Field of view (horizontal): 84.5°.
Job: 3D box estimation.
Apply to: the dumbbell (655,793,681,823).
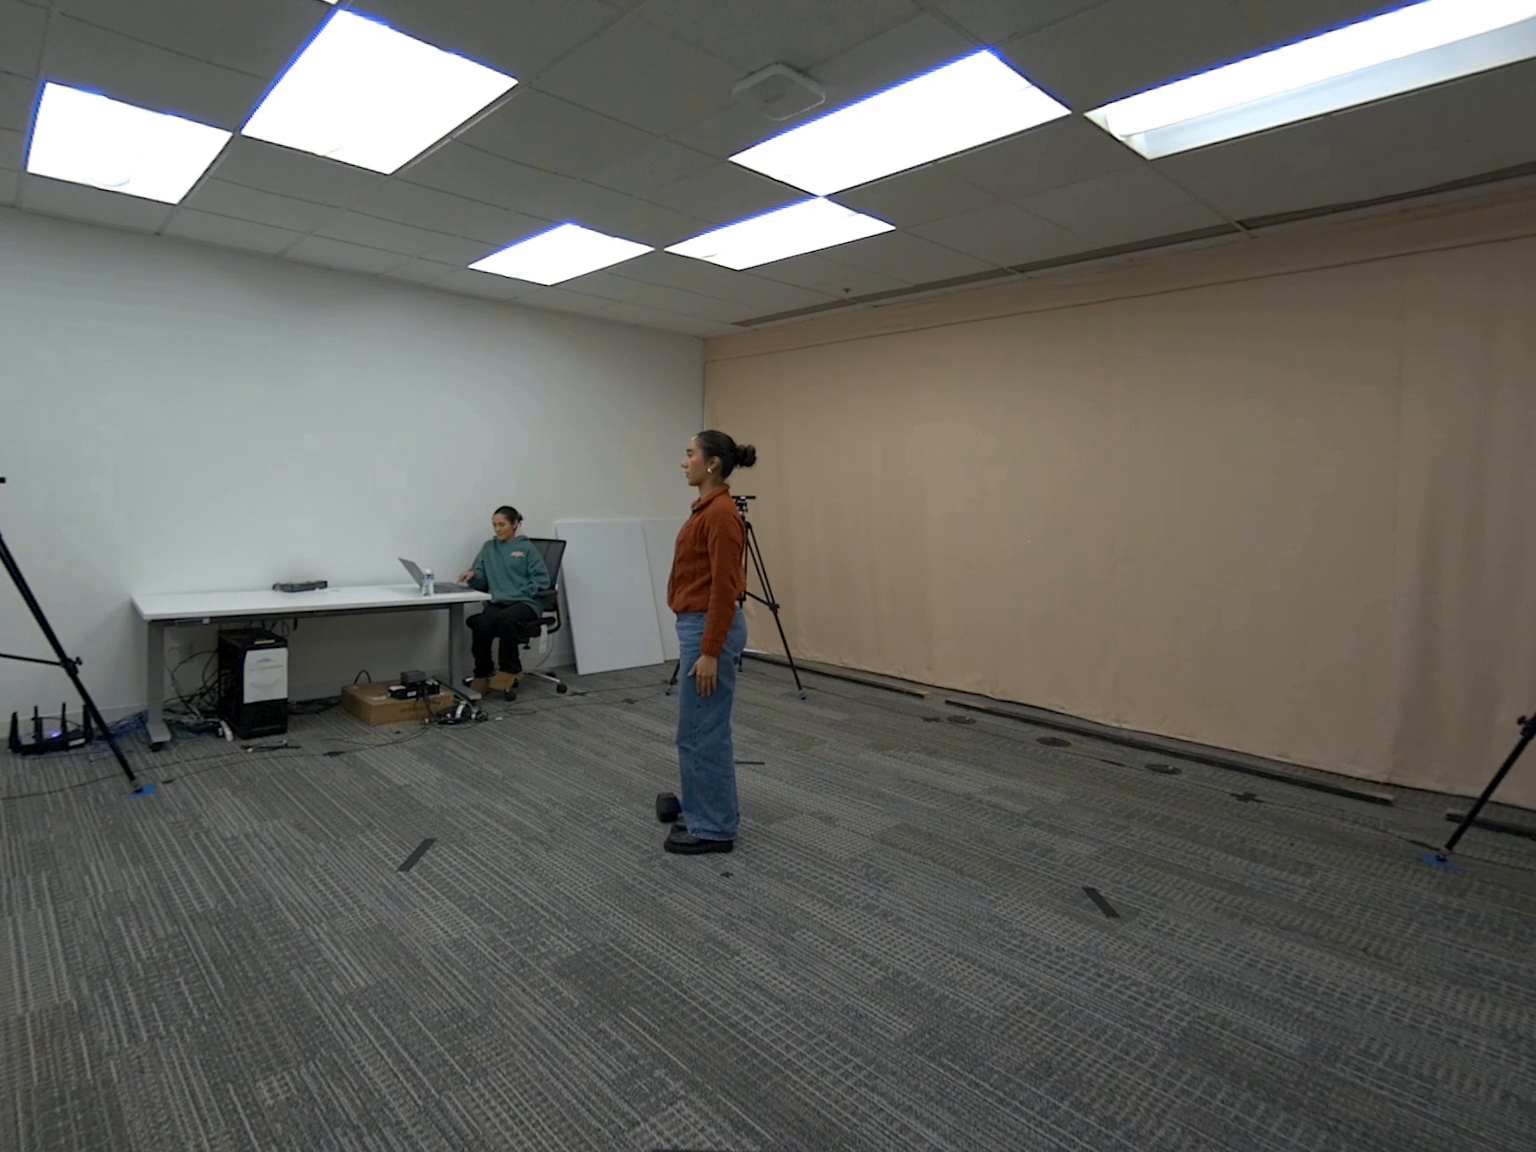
[{"bbox_3d":[-0.346,1.000,3.664,0.290,0.121,0.112,-1,34,-18],"label":"dumbbell"}]
